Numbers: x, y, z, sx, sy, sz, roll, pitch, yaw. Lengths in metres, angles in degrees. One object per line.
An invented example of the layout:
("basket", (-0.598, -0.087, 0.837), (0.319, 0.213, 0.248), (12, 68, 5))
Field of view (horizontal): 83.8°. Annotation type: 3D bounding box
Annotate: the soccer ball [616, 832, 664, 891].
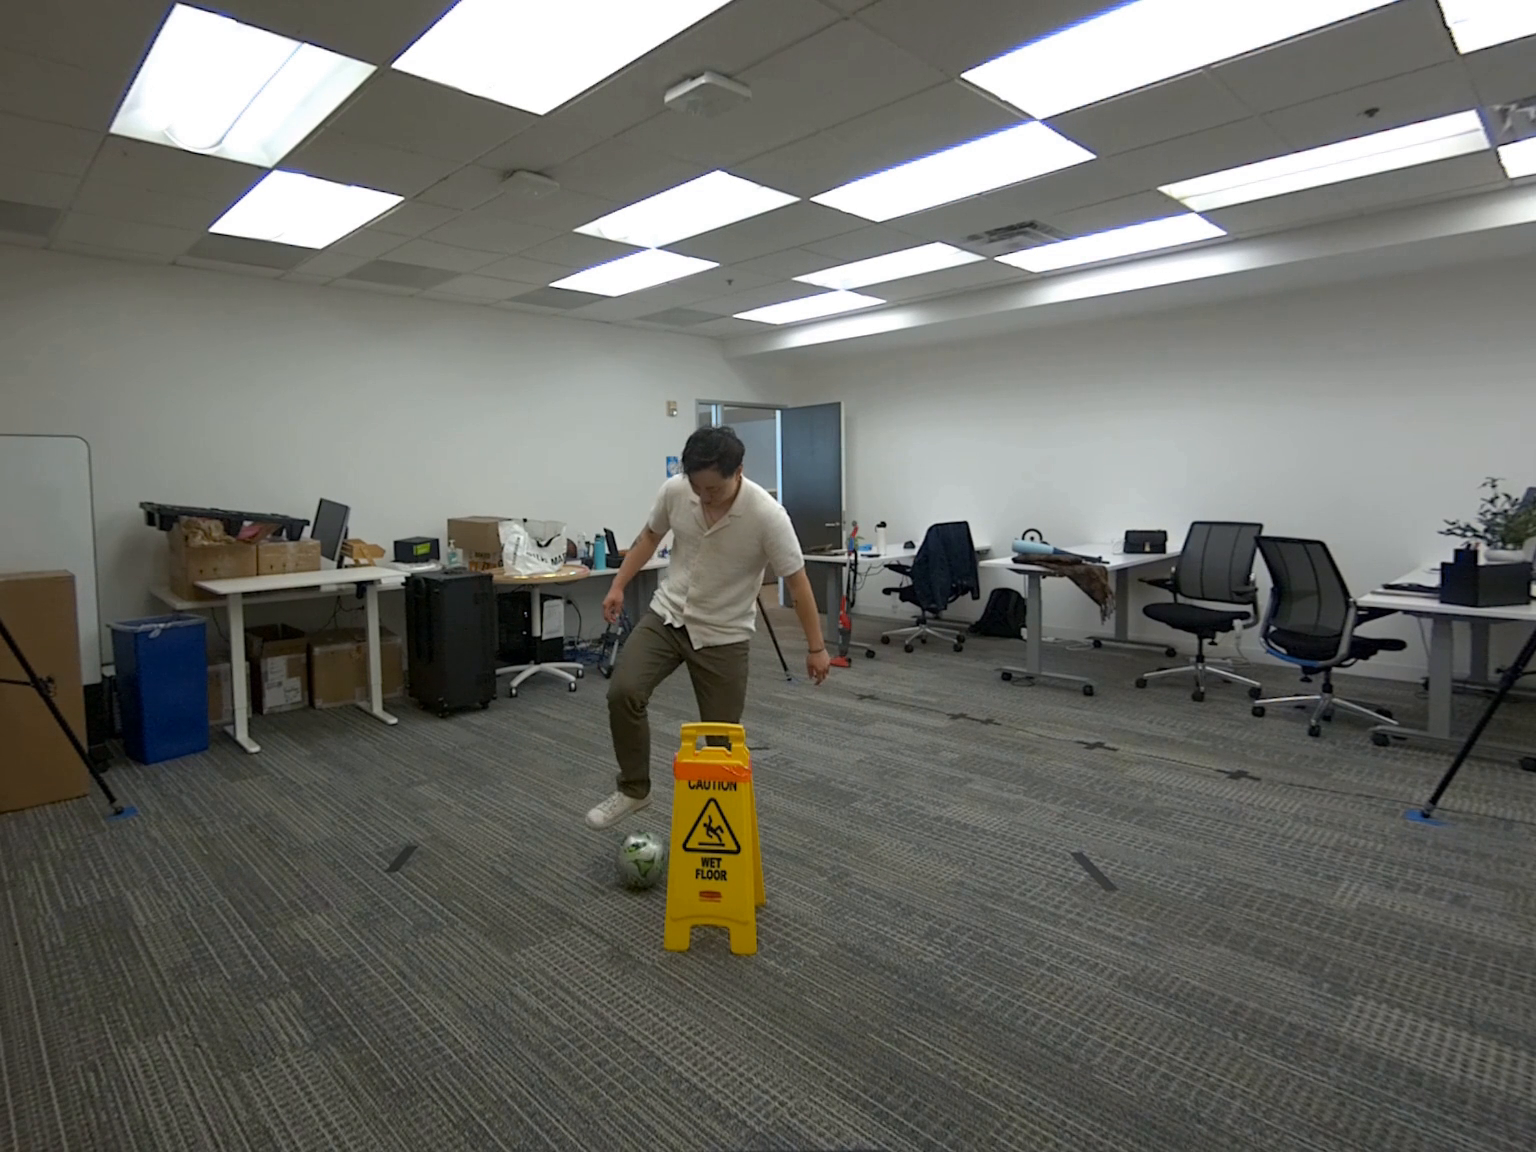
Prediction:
("soccer ball", (-0.434, 0.976, 2.948), (0.187, 0.187, 0.188), (-1, 5, -2))
